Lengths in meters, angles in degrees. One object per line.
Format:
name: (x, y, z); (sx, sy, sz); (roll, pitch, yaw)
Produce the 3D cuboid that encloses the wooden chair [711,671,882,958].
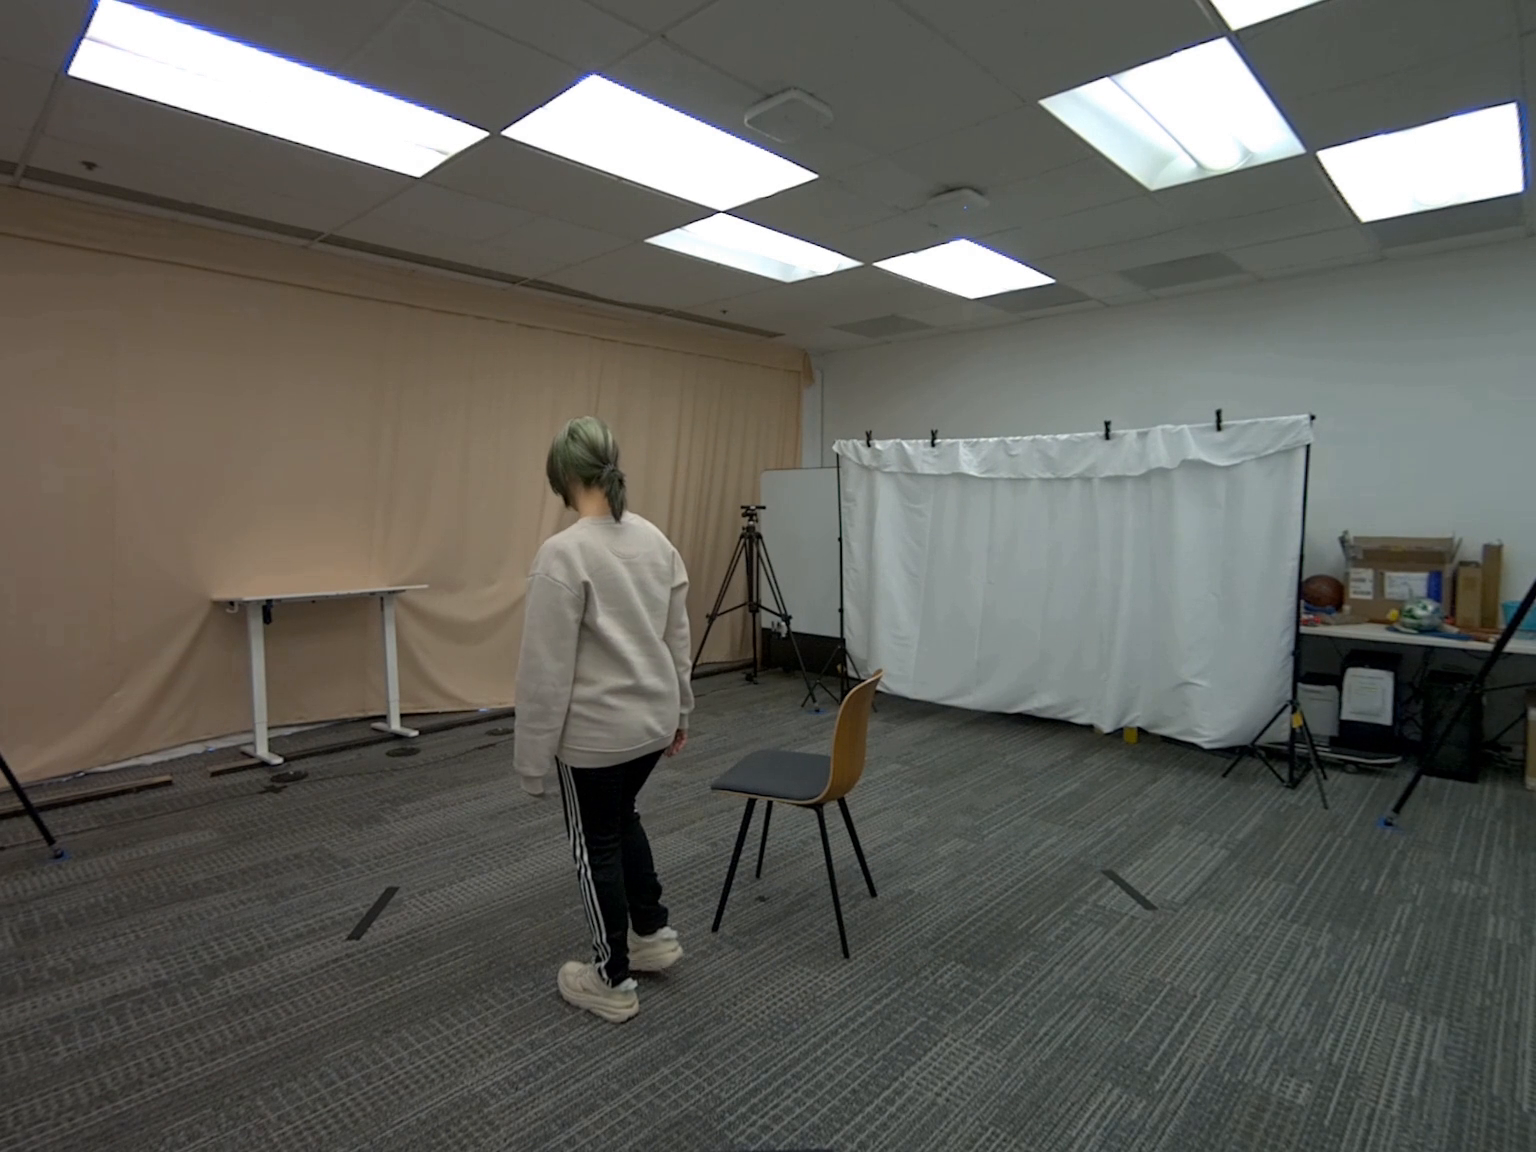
wooden chair: (0.095, 0.726, 2.846); (0.535, 0.875, 0.468); (6, 5, 20)
